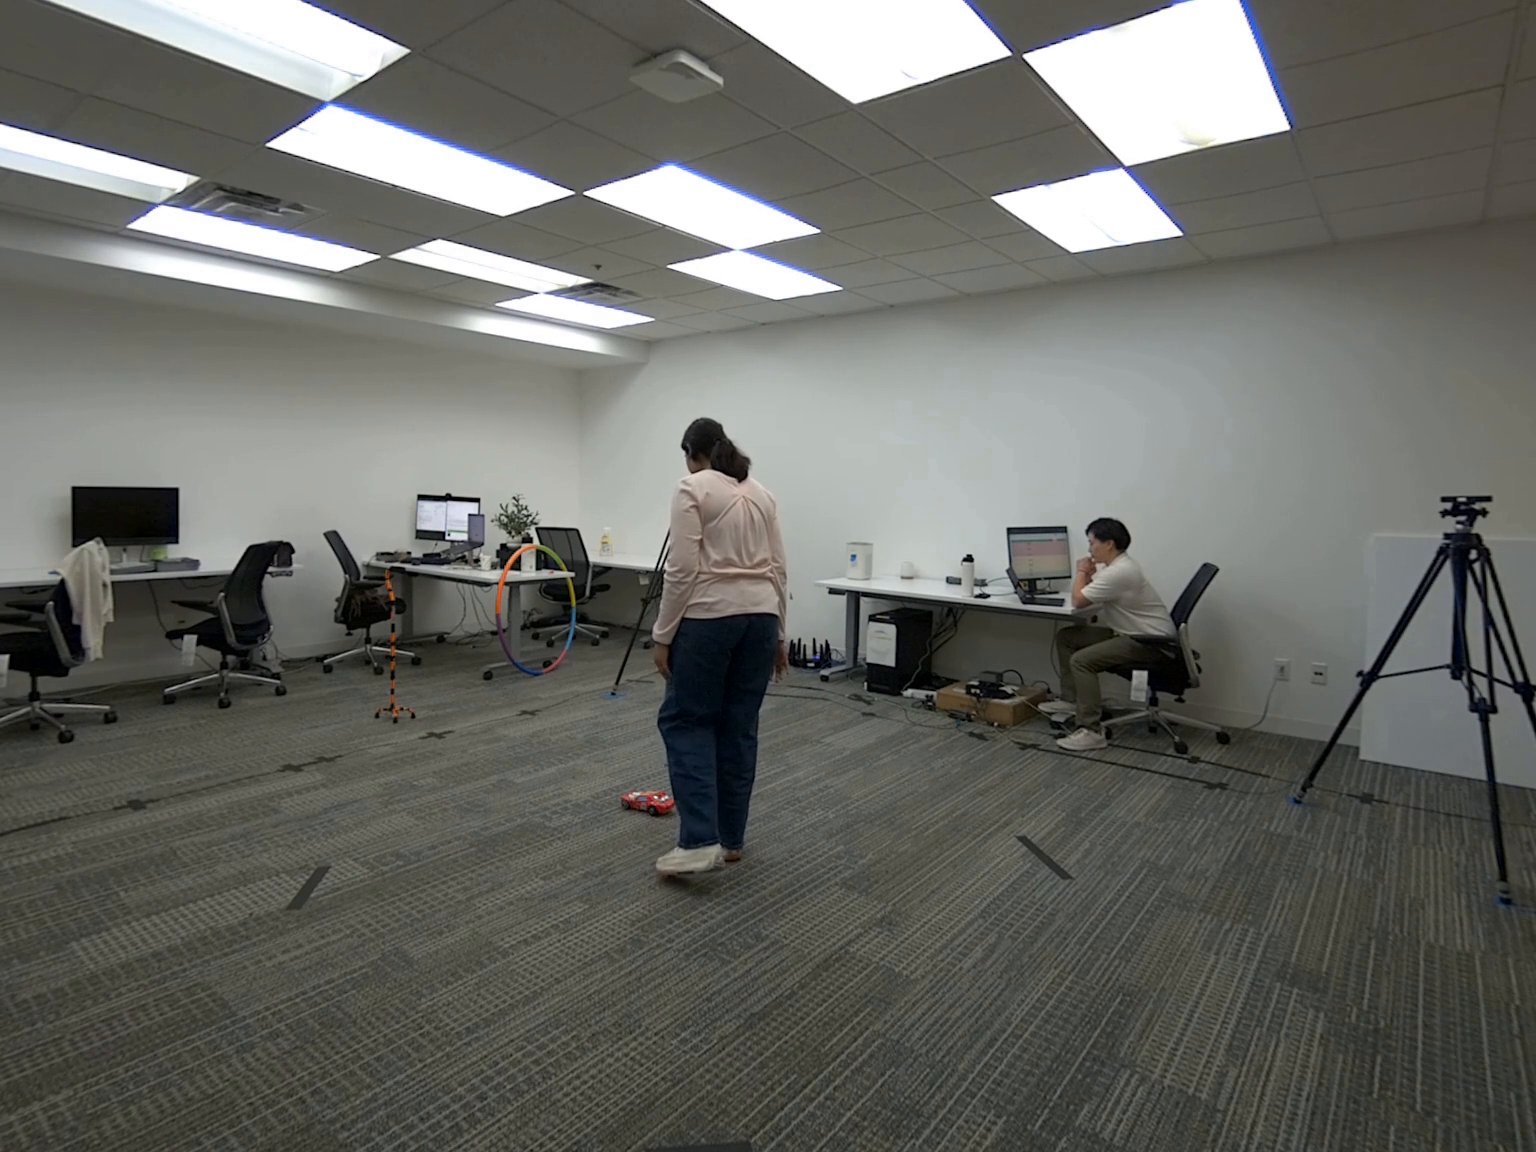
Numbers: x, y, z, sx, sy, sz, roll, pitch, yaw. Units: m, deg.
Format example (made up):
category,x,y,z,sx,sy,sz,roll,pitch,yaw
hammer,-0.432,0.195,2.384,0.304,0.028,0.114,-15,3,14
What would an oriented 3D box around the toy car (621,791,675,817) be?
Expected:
category,x,y,z,sx,sy,sz,roll,pitch,yaw
toy car,-0.522,0.977,3.674,0.260,0.083,0.127,-8,-1,30
